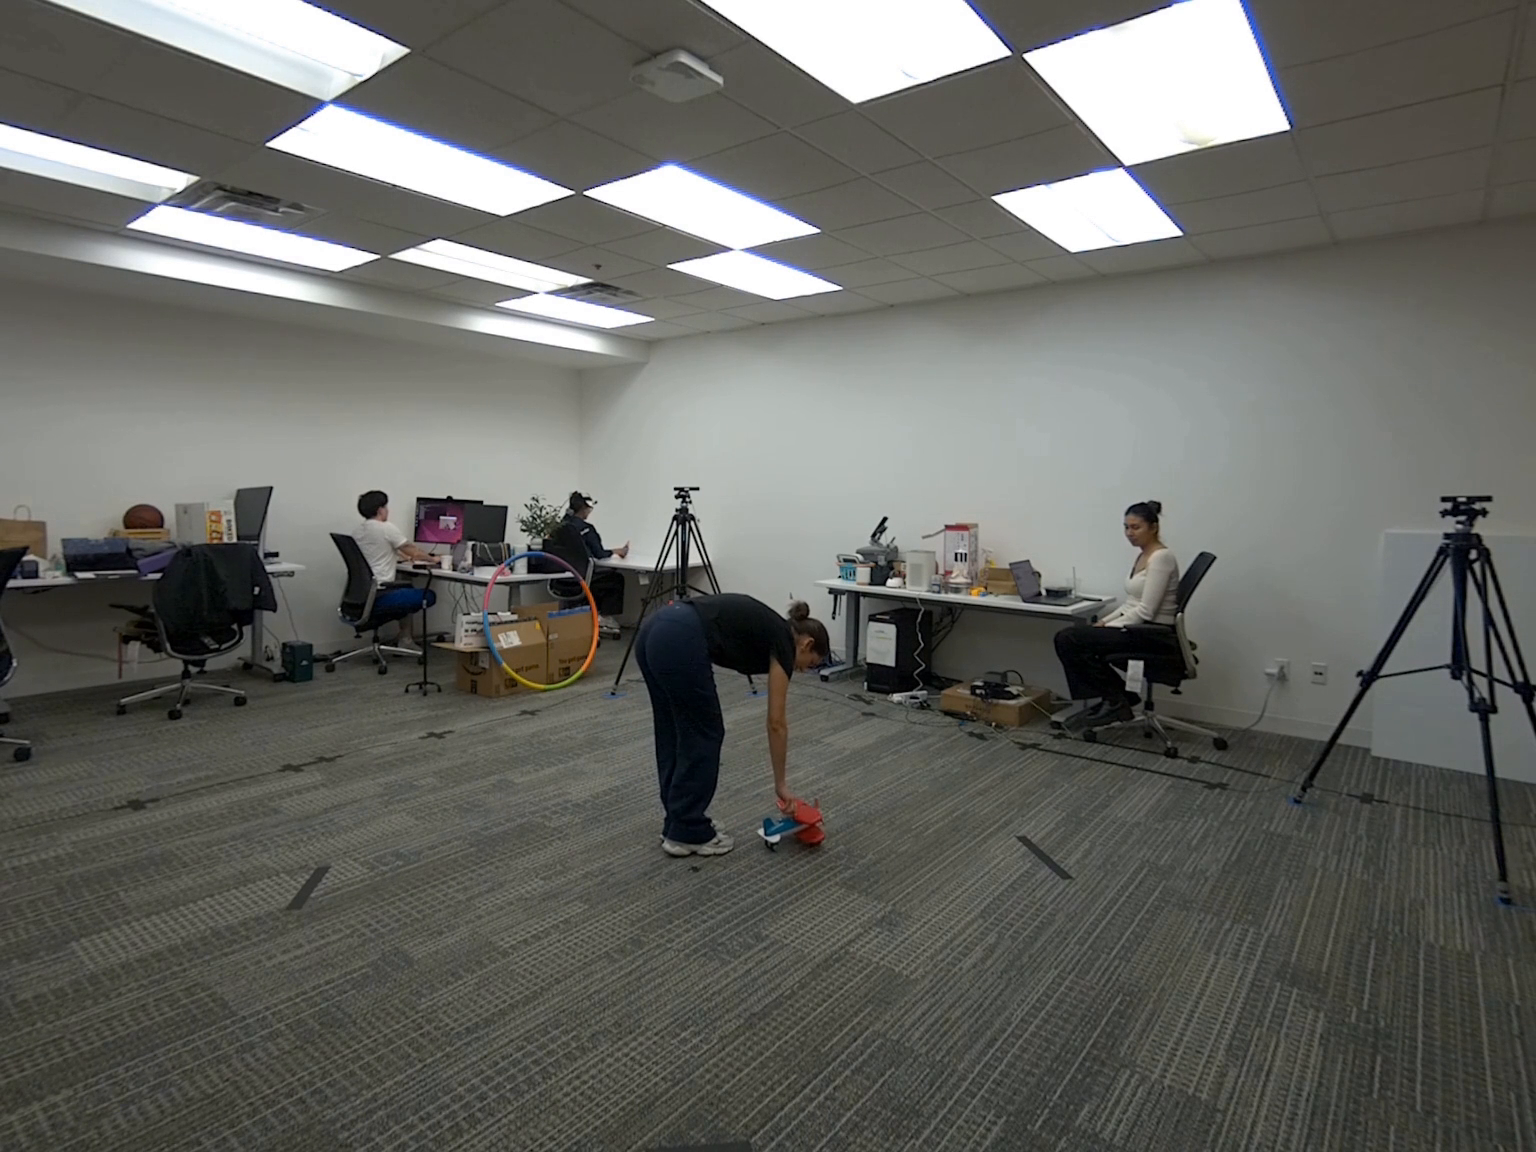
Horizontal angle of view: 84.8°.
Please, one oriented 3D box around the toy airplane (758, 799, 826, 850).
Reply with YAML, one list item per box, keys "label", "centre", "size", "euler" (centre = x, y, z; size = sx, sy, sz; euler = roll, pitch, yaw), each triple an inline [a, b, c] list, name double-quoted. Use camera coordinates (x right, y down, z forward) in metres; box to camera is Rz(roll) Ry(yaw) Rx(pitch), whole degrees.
- label: "toy airplane"
  centre: [0.121, 0.982, 3.324]
  size: [0.259, 0.156, 0.252]
  euler: [3, 5, 33]
